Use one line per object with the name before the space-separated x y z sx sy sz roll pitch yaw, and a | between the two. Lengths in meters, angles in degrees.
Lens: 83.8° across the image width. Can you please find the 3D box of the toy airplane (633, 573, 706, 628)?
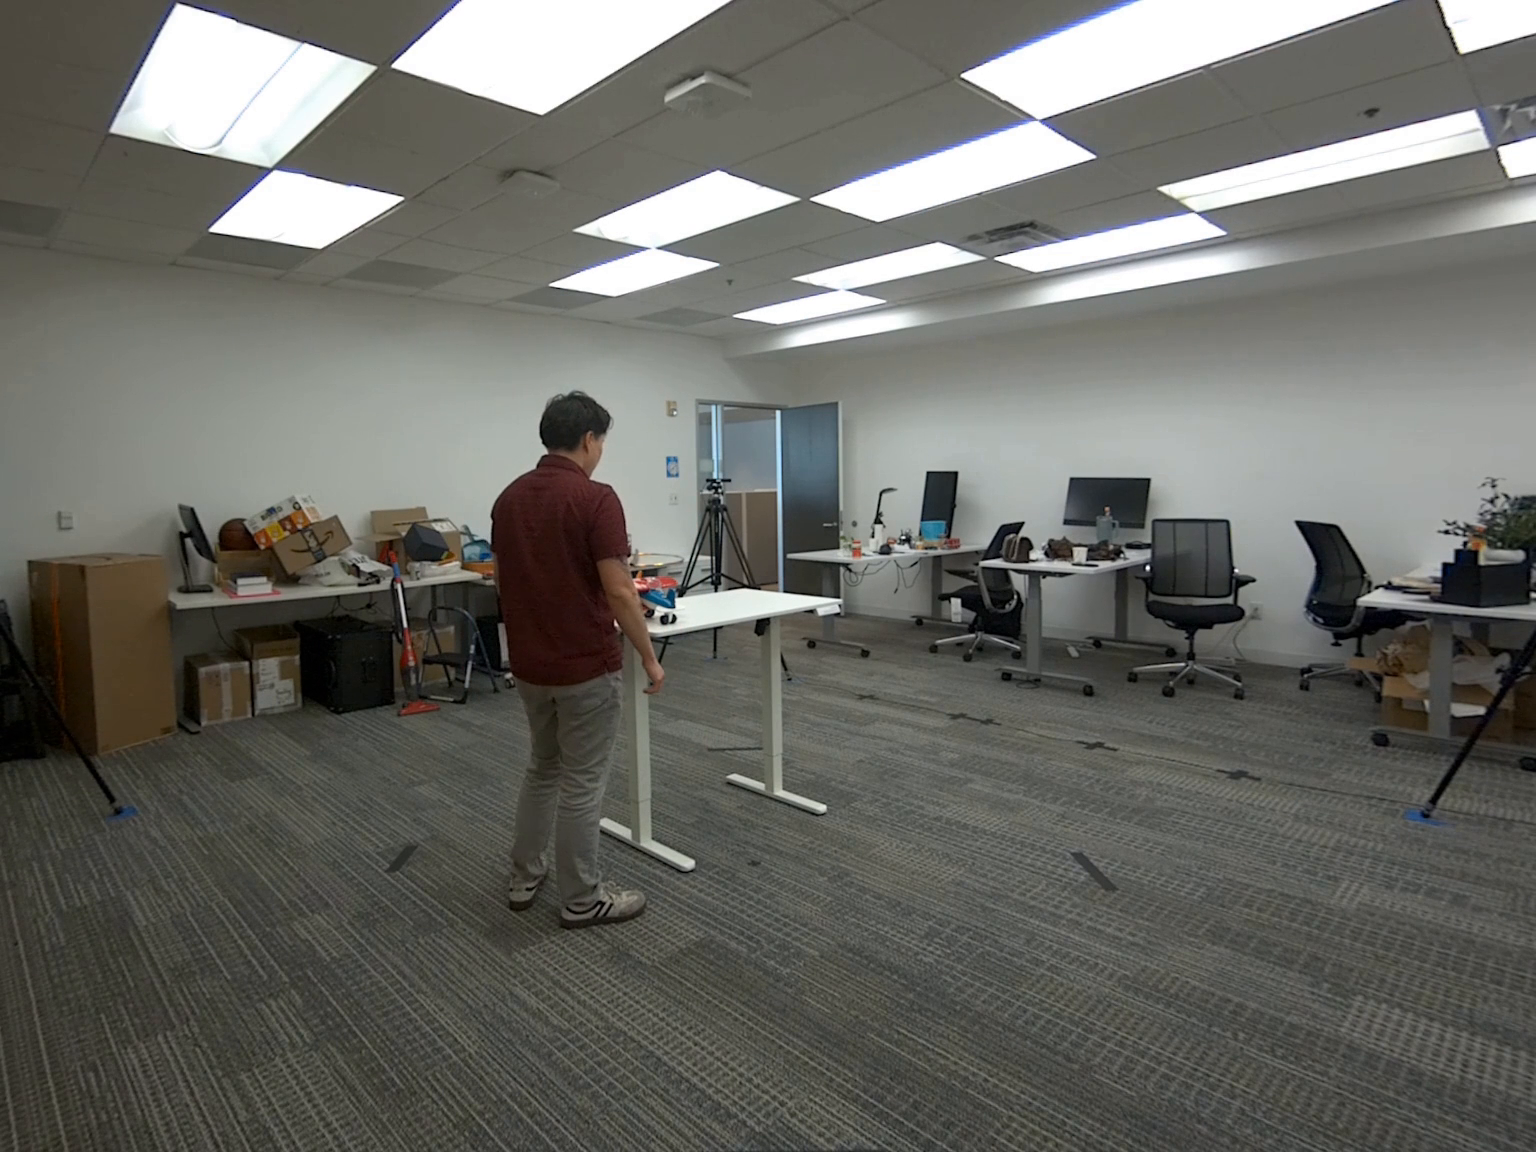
toy airplane | -0.404 0.085 3.149 0.264 0.156 0.248 -2 6 19
